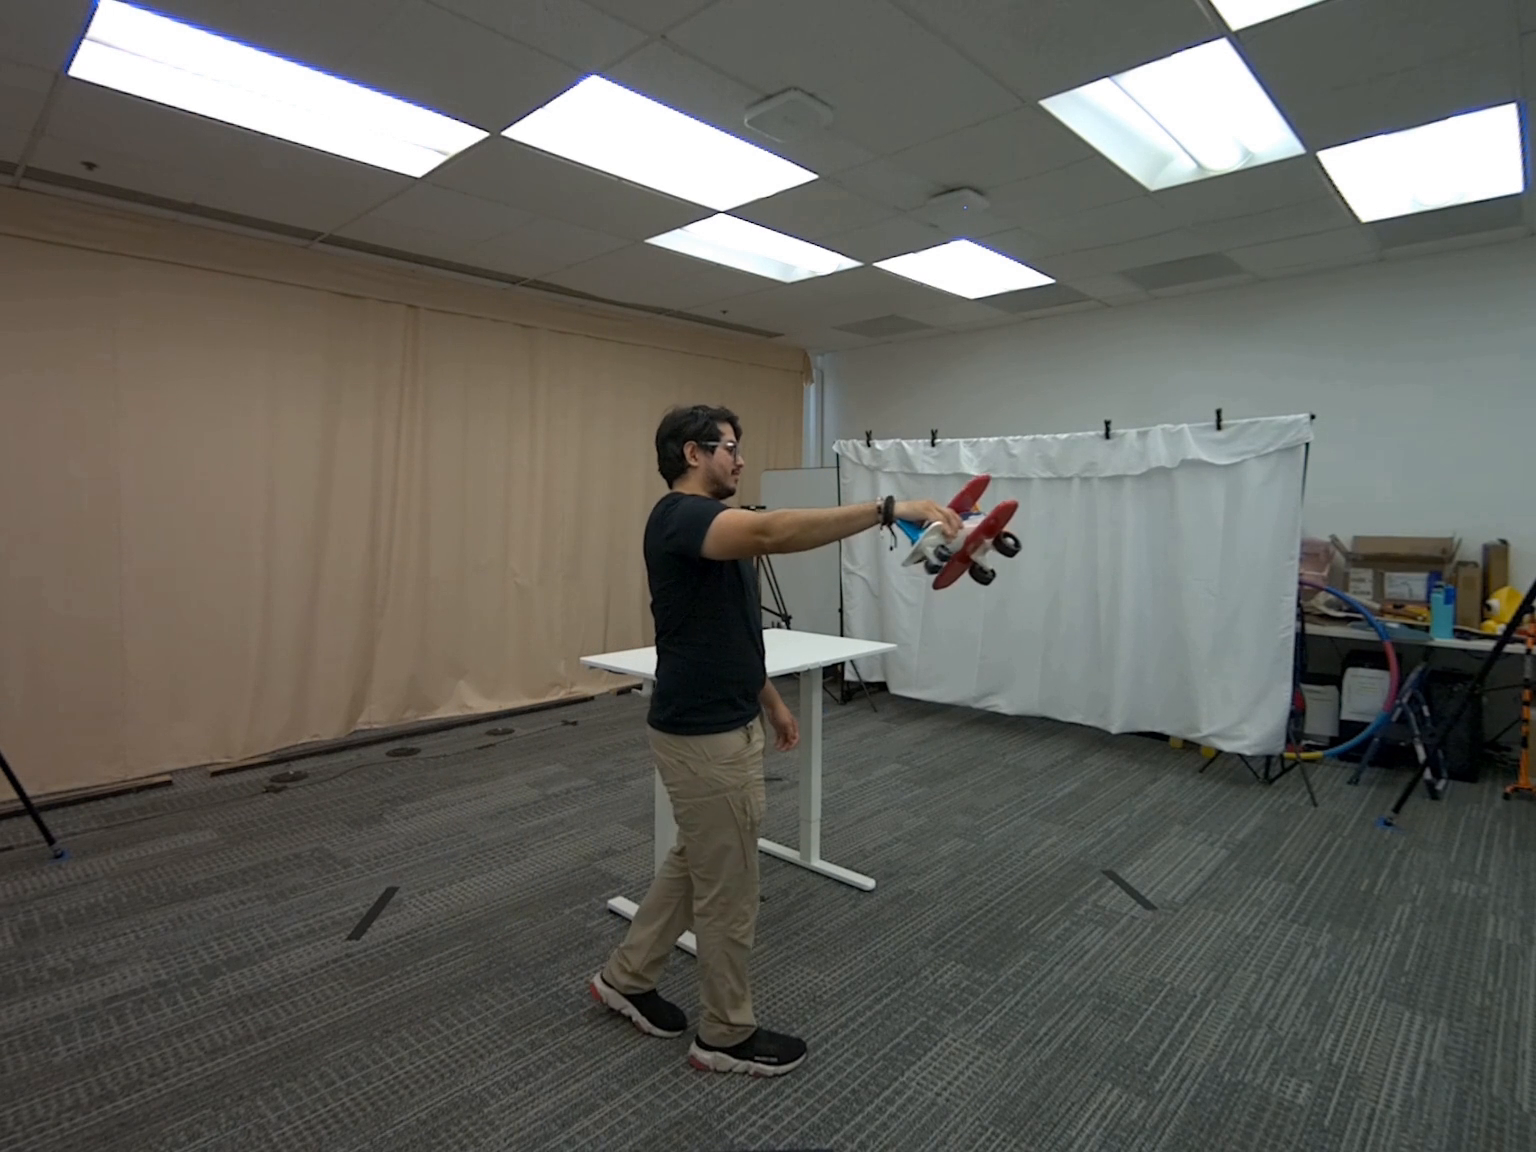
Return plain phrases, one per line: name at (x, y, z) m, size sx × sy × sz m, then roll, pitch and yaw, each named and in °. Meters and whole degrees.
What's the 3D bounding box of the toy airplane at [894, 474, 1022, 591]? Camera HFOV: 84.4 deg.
toy airplane at (0.396, -0.089, 1.690) m, size 0.252 × 0.161 × 0.250 m, roll -37°, pitch -38°, yaw 13°
